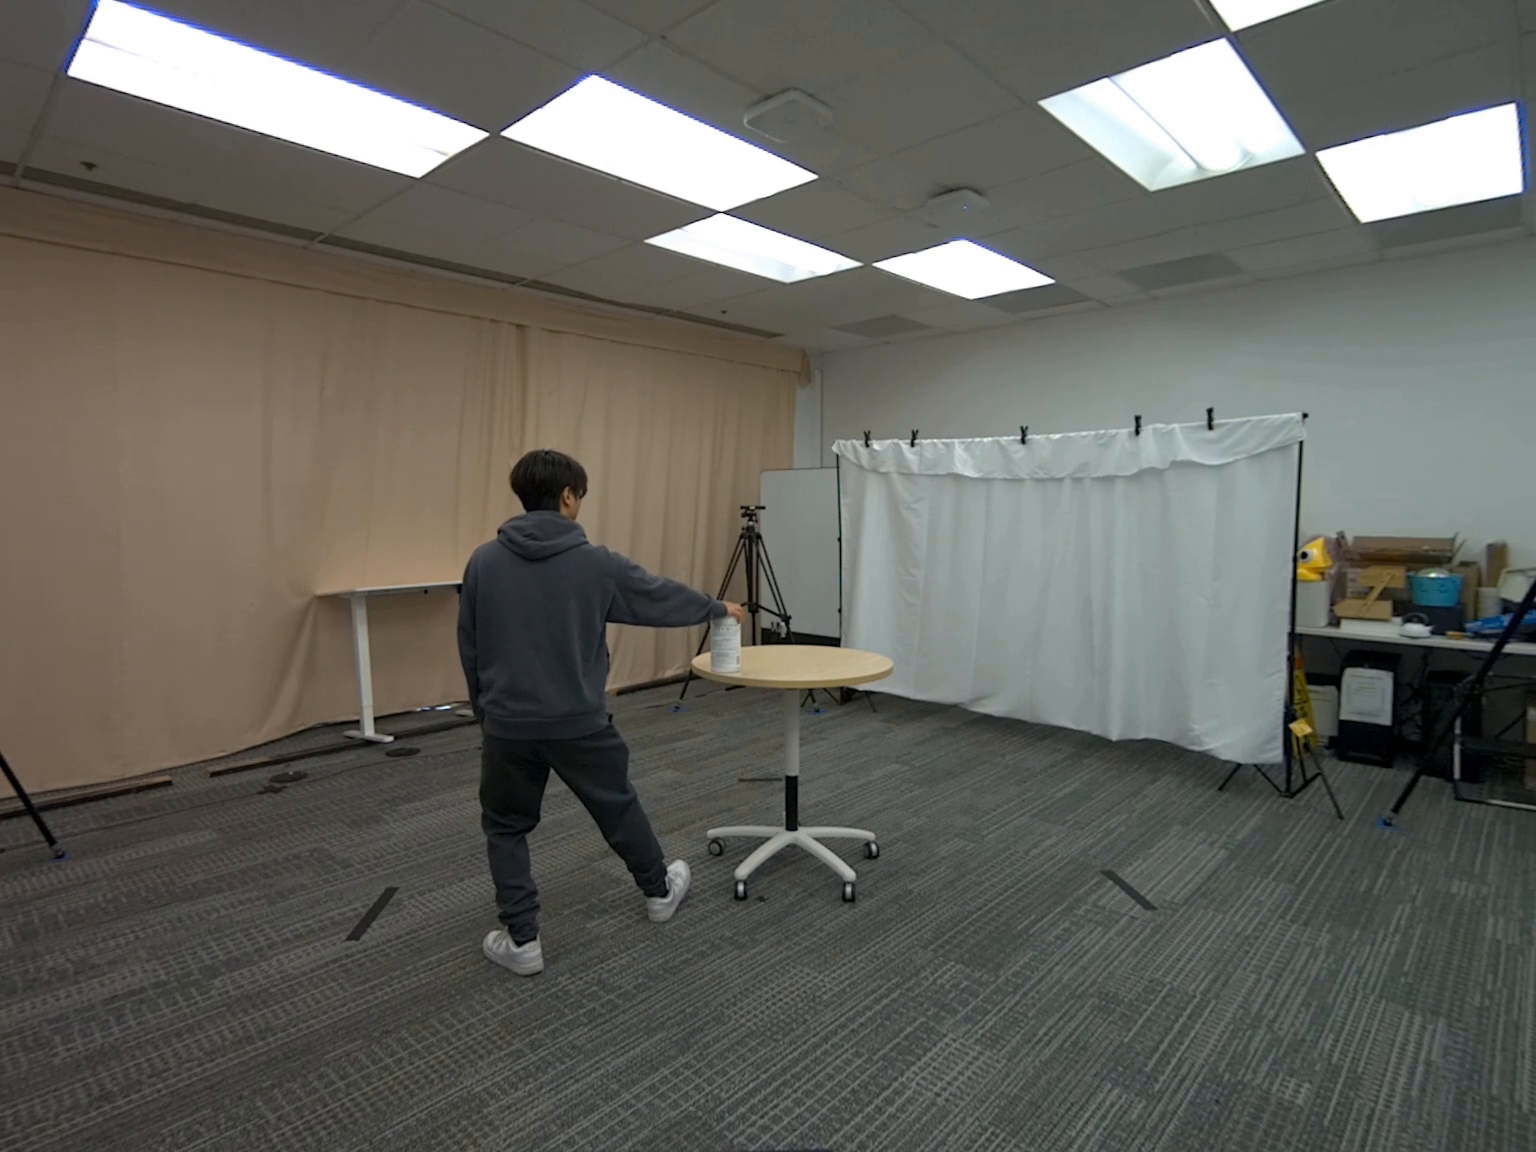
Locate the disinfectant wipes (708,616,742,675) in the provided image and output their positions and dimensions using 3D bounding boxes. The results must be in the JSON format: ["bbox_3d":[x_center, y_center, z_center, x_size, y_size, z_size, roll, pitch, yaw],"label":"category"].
[{"bbox_3d":[-0.149,0.237,3.031,0.118,0.217,0.118,-3,5,-2],"label":"disinfectant wipes"}]
